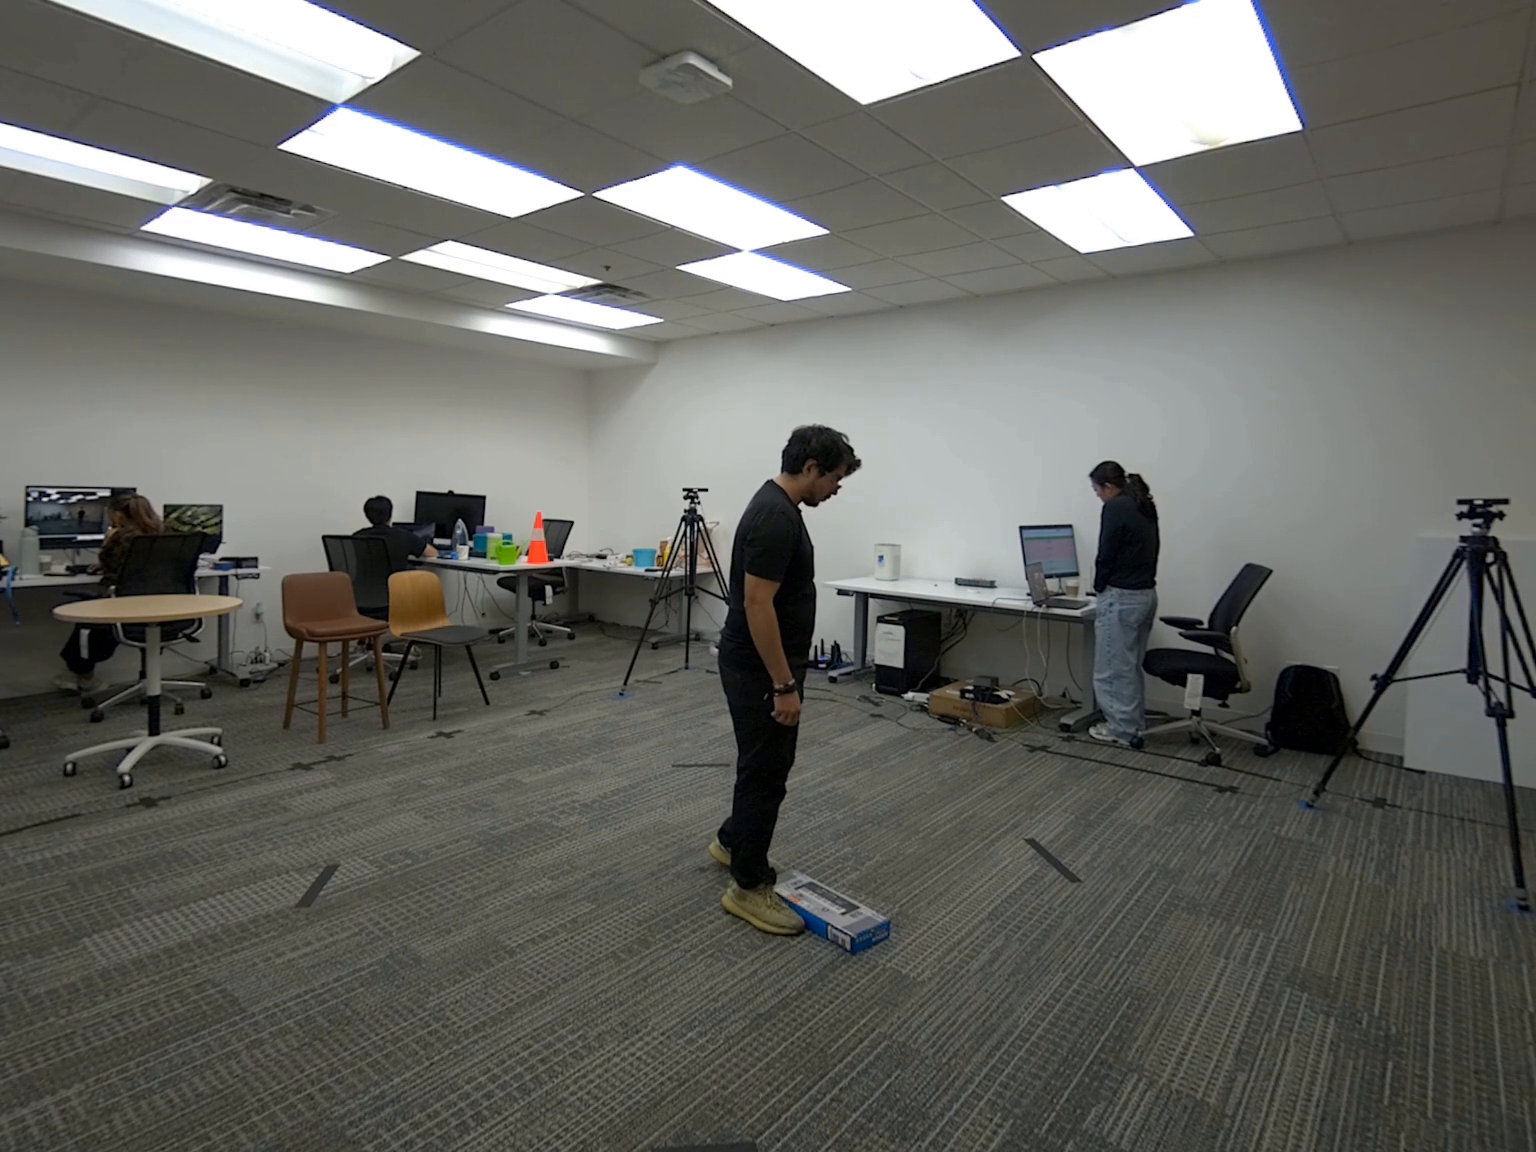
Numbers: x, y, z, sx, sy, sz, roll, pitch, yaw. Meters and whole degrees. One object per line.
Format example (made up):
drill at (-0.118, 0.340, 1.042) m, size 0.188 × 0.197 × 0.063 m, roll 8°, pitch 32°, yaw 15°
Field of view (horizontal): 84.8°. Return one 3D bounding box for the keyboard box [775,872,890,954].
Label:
keyboard box at (0.166, 1.080, 2.772) m, size 0.171 × 0.059 × 0.452 m, roll -4°, pitch 8°, yaw -40°
